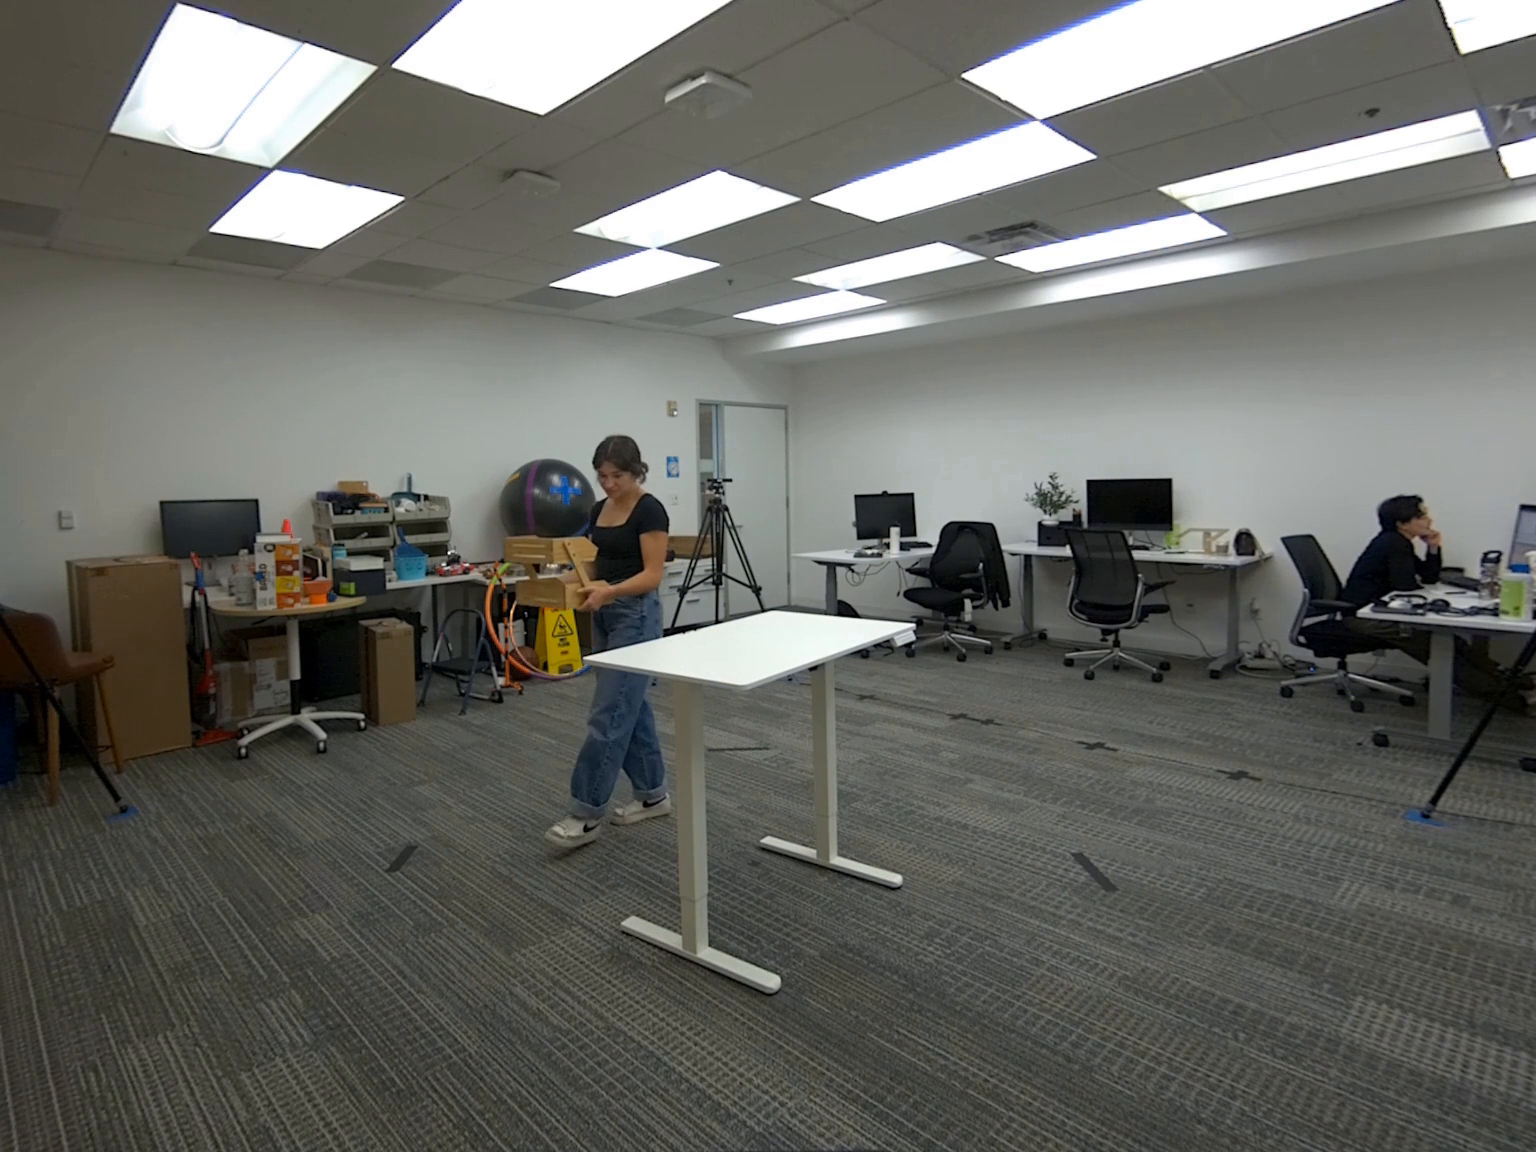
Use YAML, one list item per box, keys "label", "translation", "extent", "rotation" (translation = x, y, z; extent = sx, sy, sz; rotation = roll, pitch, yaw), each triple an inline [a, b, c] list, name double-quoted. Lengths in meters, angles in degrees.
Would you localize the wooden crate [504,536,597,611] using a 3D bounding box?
- label: "wooden crate"
  translation: [-0.795, -0.023, 3.250]
  extent: [0.334, 0.272, 0.294]
  rotation: [2, 6, 39]
